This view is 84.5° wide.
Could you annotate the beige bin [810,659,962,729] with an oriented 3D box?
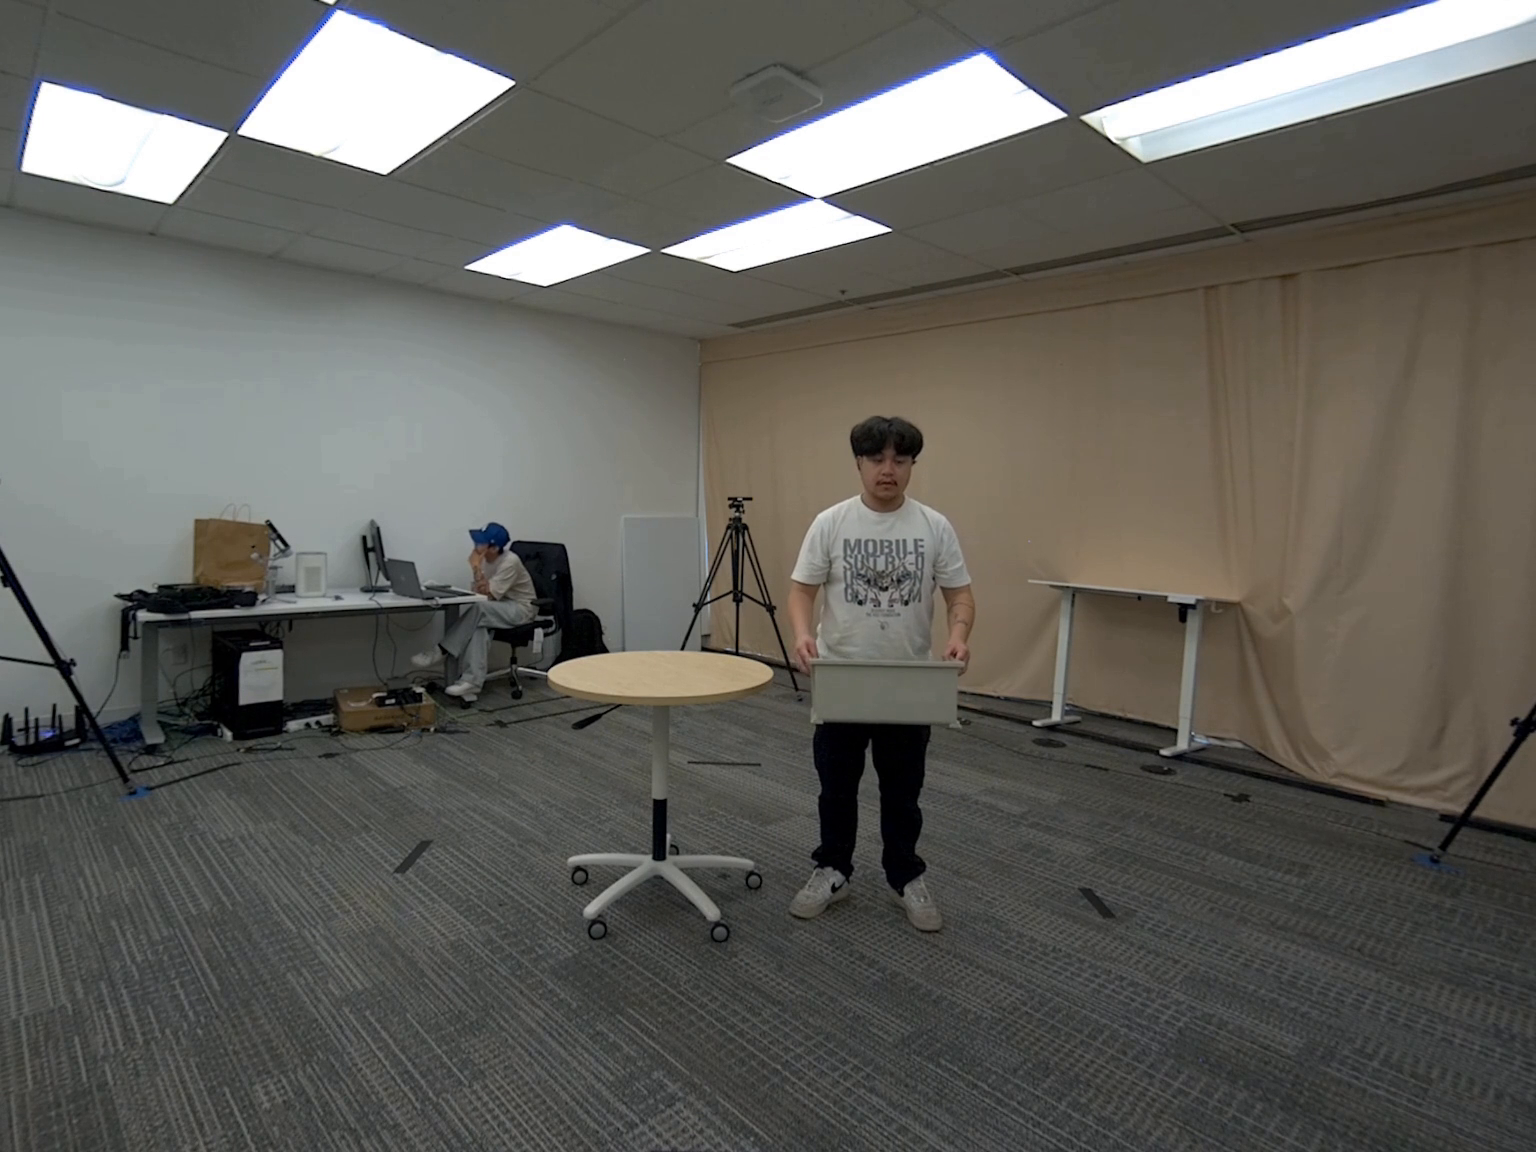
[{"bbox_3d":[0.339,0.323,2.493,0.424,0.188,0.376,1,4,6],"label":"beige bin"}]
